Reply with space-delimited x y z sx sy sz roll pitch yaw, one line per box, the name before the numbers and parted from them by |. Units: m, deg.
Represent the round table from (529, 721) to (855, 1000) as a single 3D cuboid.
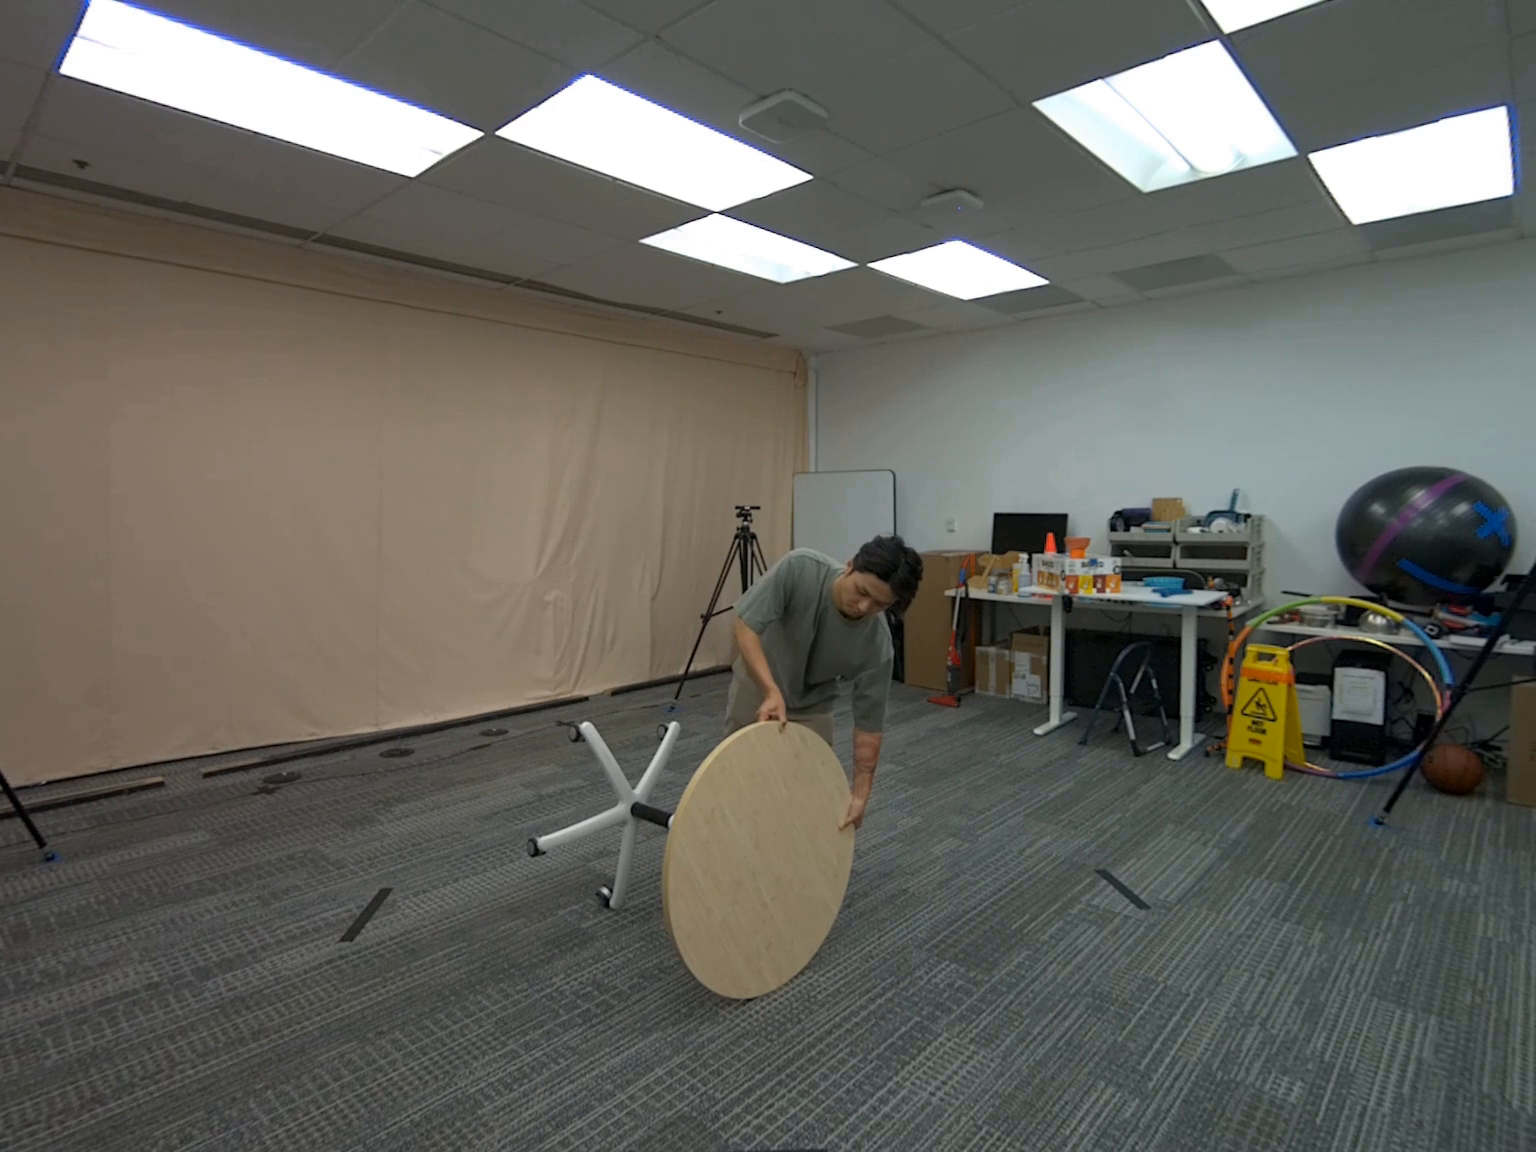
round table | -0.278 0.810 2.717 0.761 0.785 0.811 -4 1 -44
